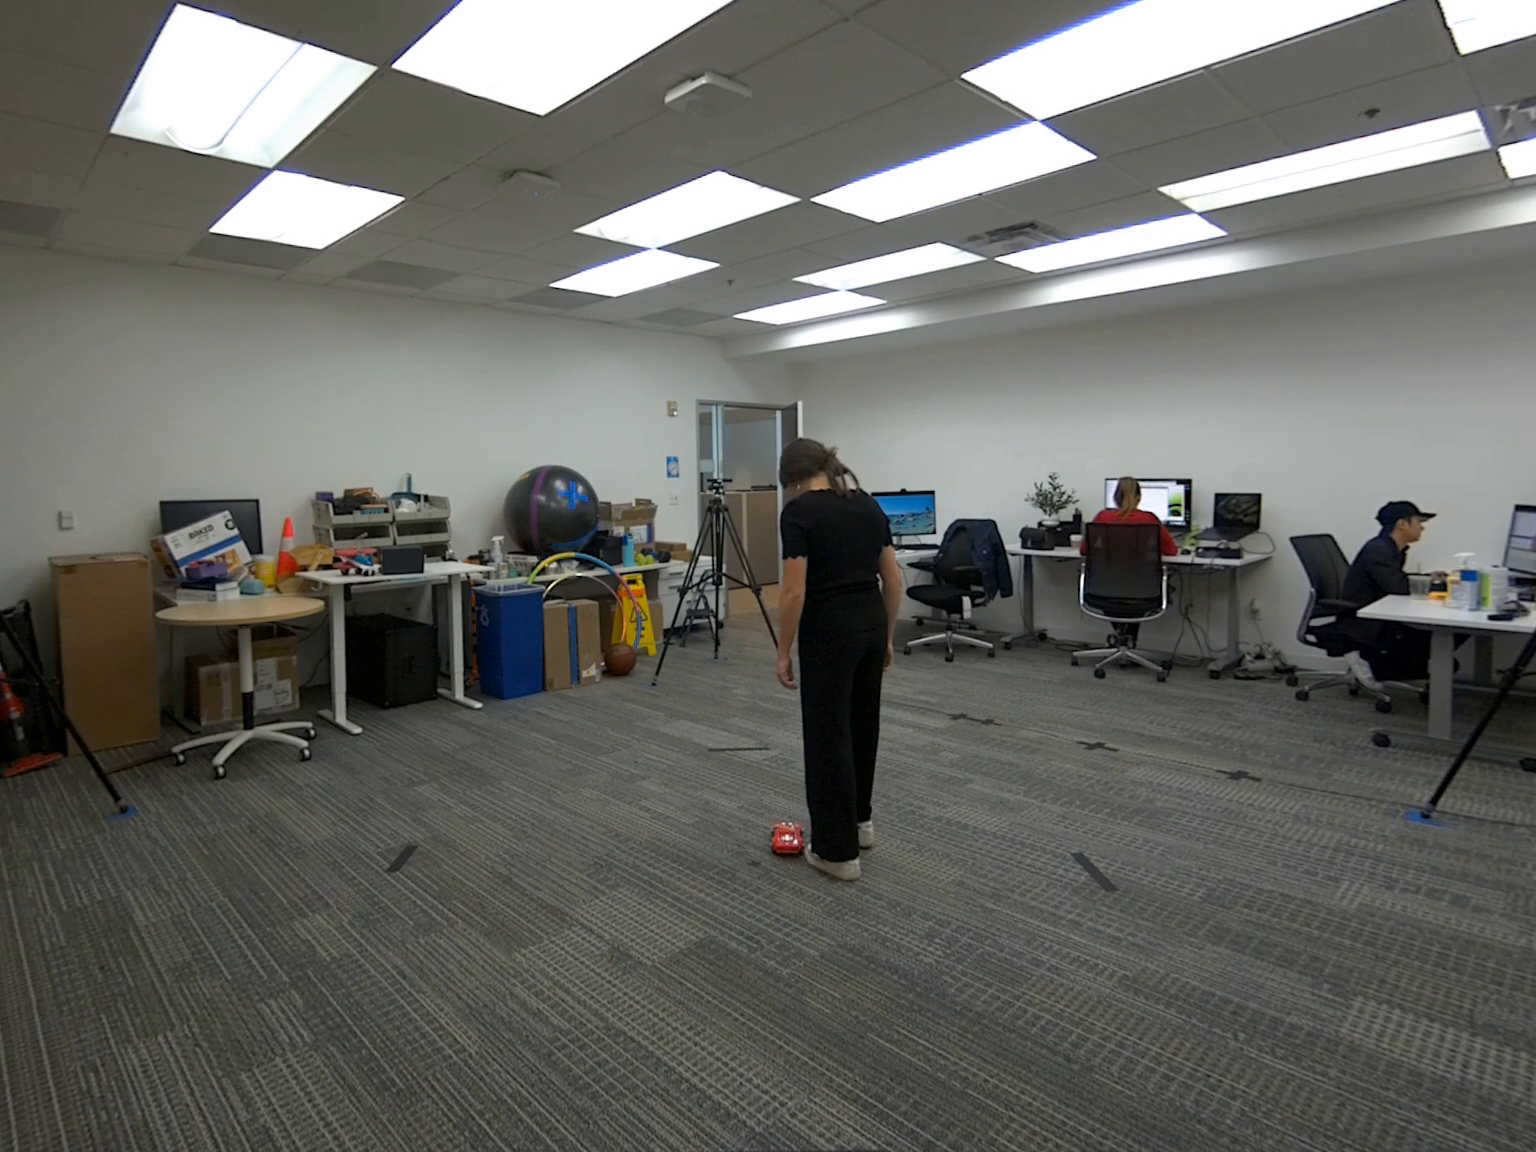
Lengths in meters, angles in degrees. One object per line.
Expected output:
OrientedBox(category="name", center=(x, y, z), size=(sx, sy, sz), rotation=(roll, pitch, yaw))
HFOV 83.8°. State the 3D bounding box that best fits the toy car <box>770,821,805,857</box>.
OrientedBox(category="toy car", center=(0.072, 1.000, 3.243), size=(0.131, 0.084, 0.252), rotation=(-2, -6, 2))
